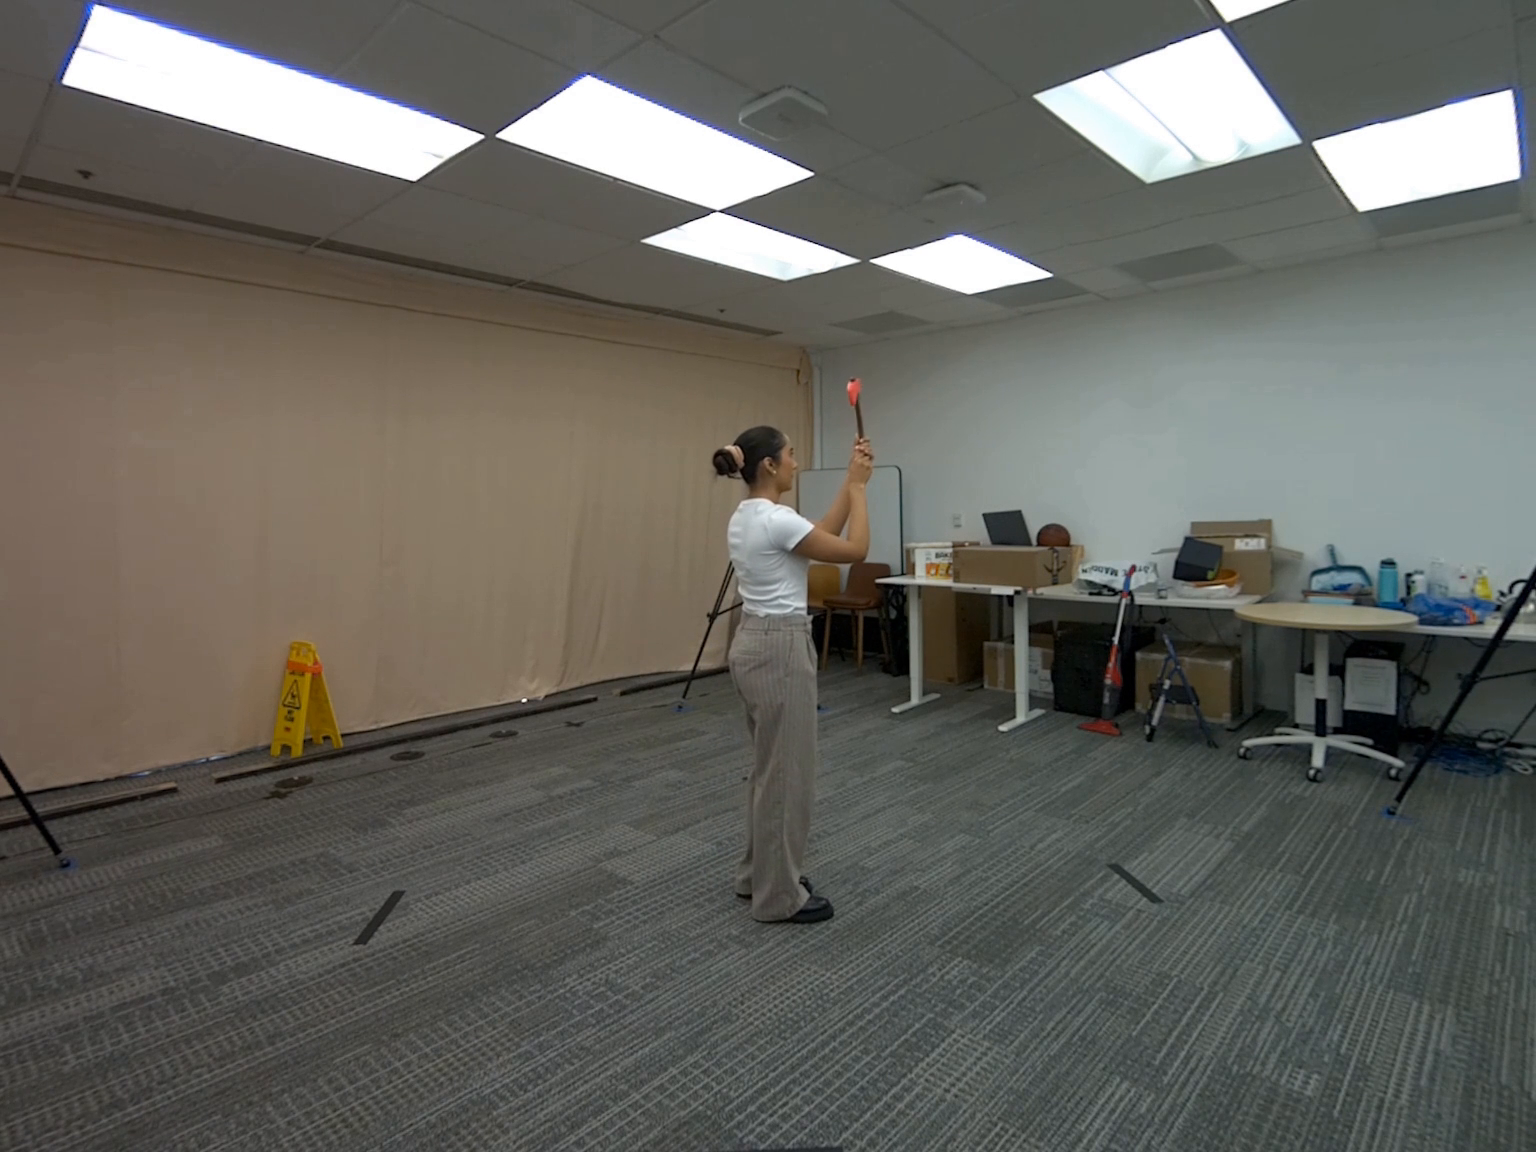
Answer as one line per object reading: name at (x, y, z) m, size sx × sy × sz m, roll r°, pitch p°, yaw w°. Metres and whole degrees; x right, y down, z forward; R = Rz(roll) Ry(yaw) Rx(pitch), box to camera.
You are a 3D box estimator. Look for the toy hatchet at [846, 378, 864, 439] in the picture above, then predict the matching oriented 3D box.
toy hatchet at (0.301, -0.527, 2.796) m, size 0.030 × 0.269 × 0.129 m, roll -3°, pitch 7°, yaw 18°
